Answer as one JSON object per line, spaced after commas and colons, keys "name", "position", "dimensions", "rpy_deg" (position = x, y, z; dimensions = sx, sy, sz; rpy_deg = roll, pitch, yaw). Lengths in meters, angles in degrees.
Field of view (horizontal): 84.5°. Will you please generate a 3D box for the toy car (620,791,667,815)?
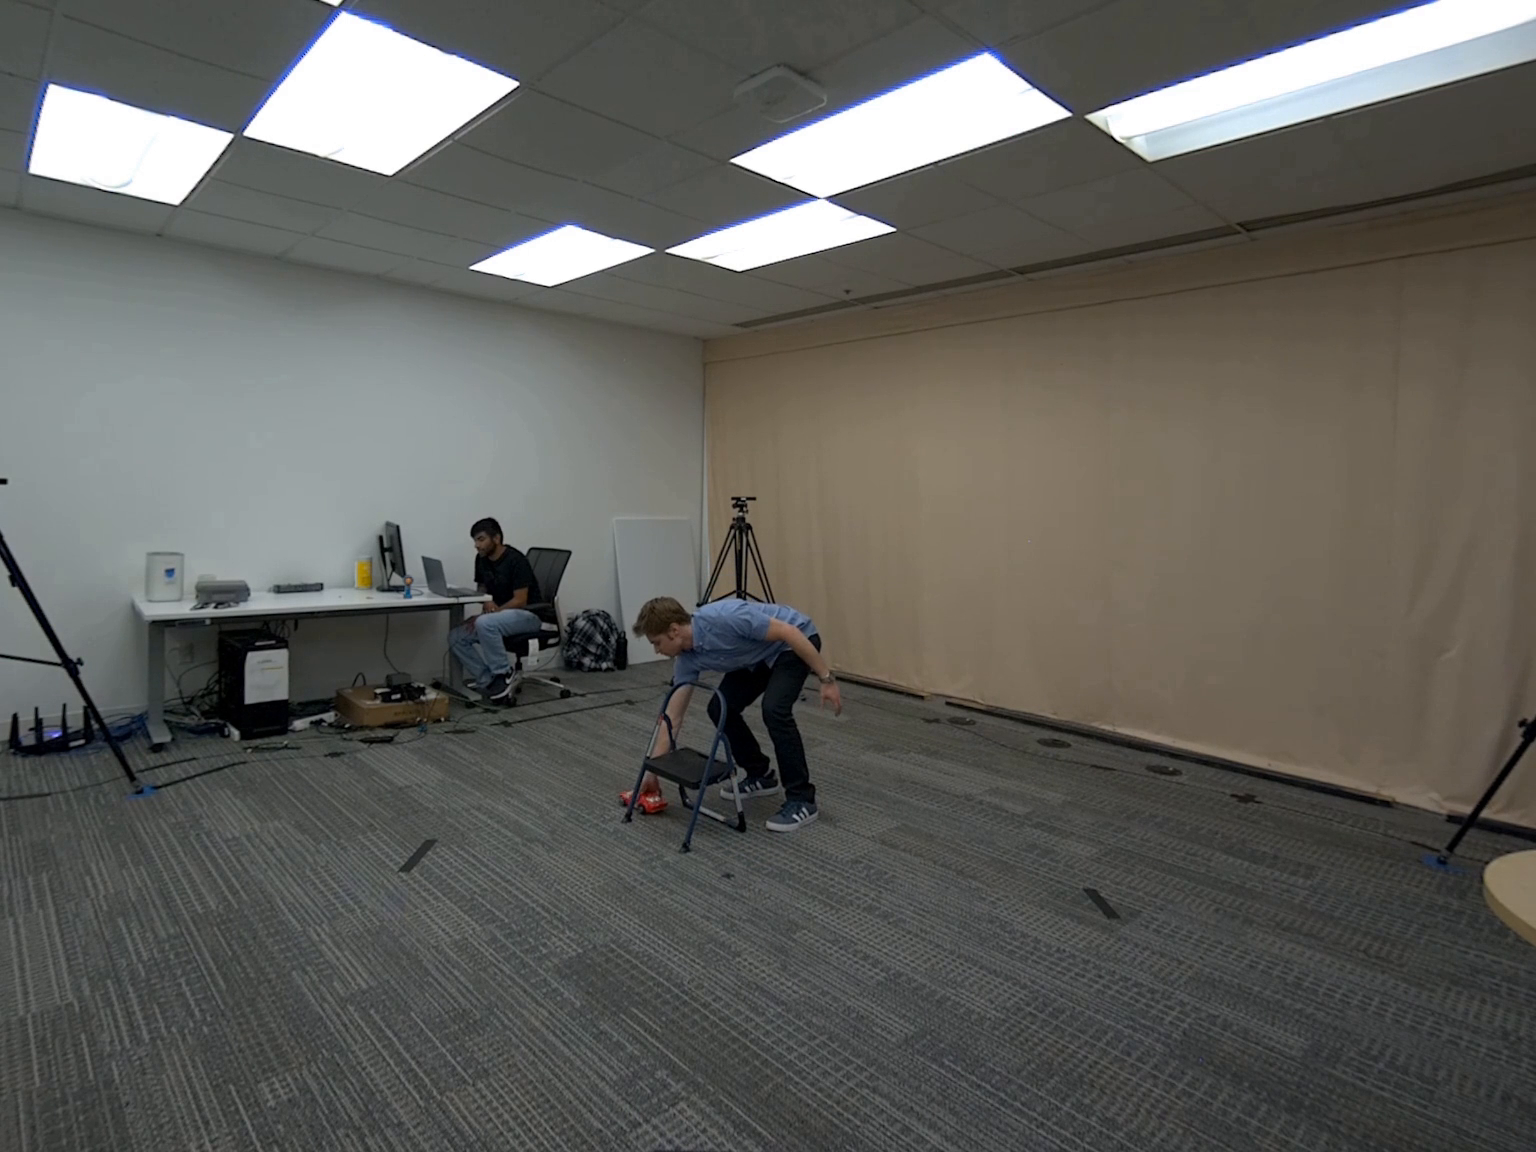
{"name": "toy car", "position": [-0.571, 1.014, 3.771], "dimensions": [0.259, 0.083, 0.127], "rpy_deg": [-8, -6, 44]}
